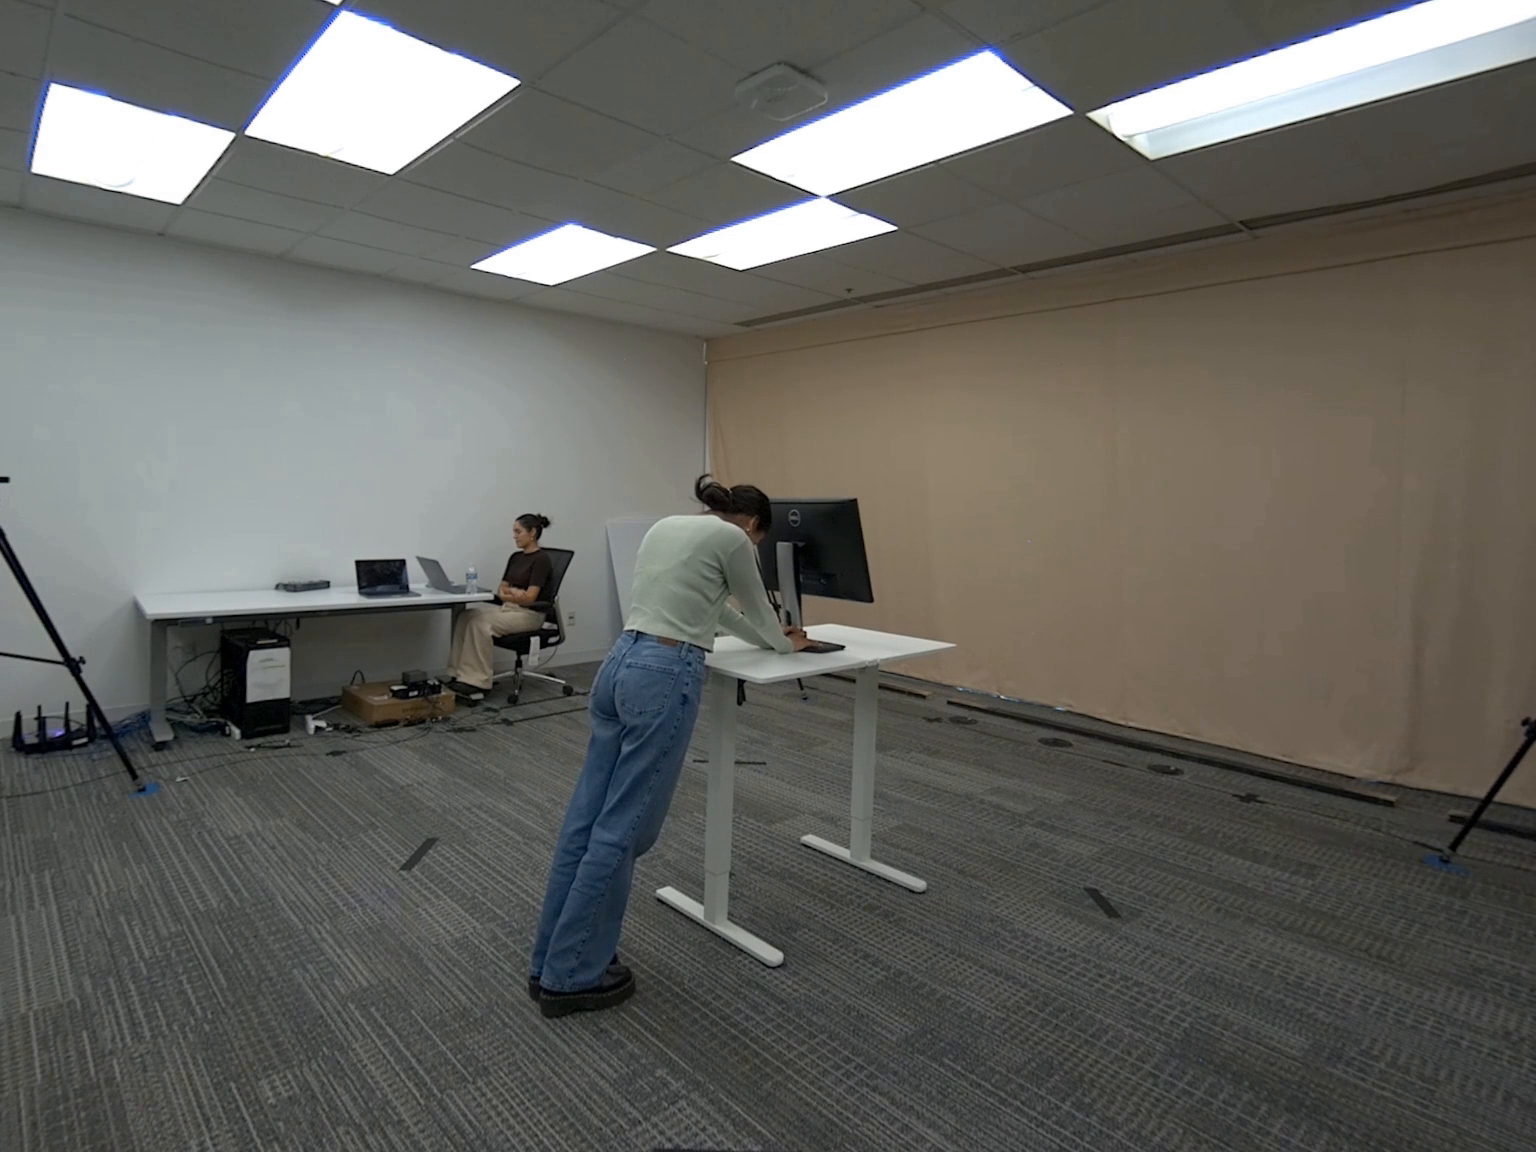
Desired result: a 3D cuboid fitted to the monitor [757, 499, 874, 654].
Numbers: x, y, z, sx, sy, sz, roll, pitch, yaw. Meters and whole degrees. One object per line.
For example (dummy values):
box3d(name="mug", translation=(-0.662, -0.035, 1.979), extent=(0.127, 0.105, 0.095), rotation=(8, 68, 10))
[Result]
box3d(name="monitor", translation=(0.106, -0.006, 2.896), extent=(0.183, 0.521, 0.553), rotation=(-2, 5, -42))
